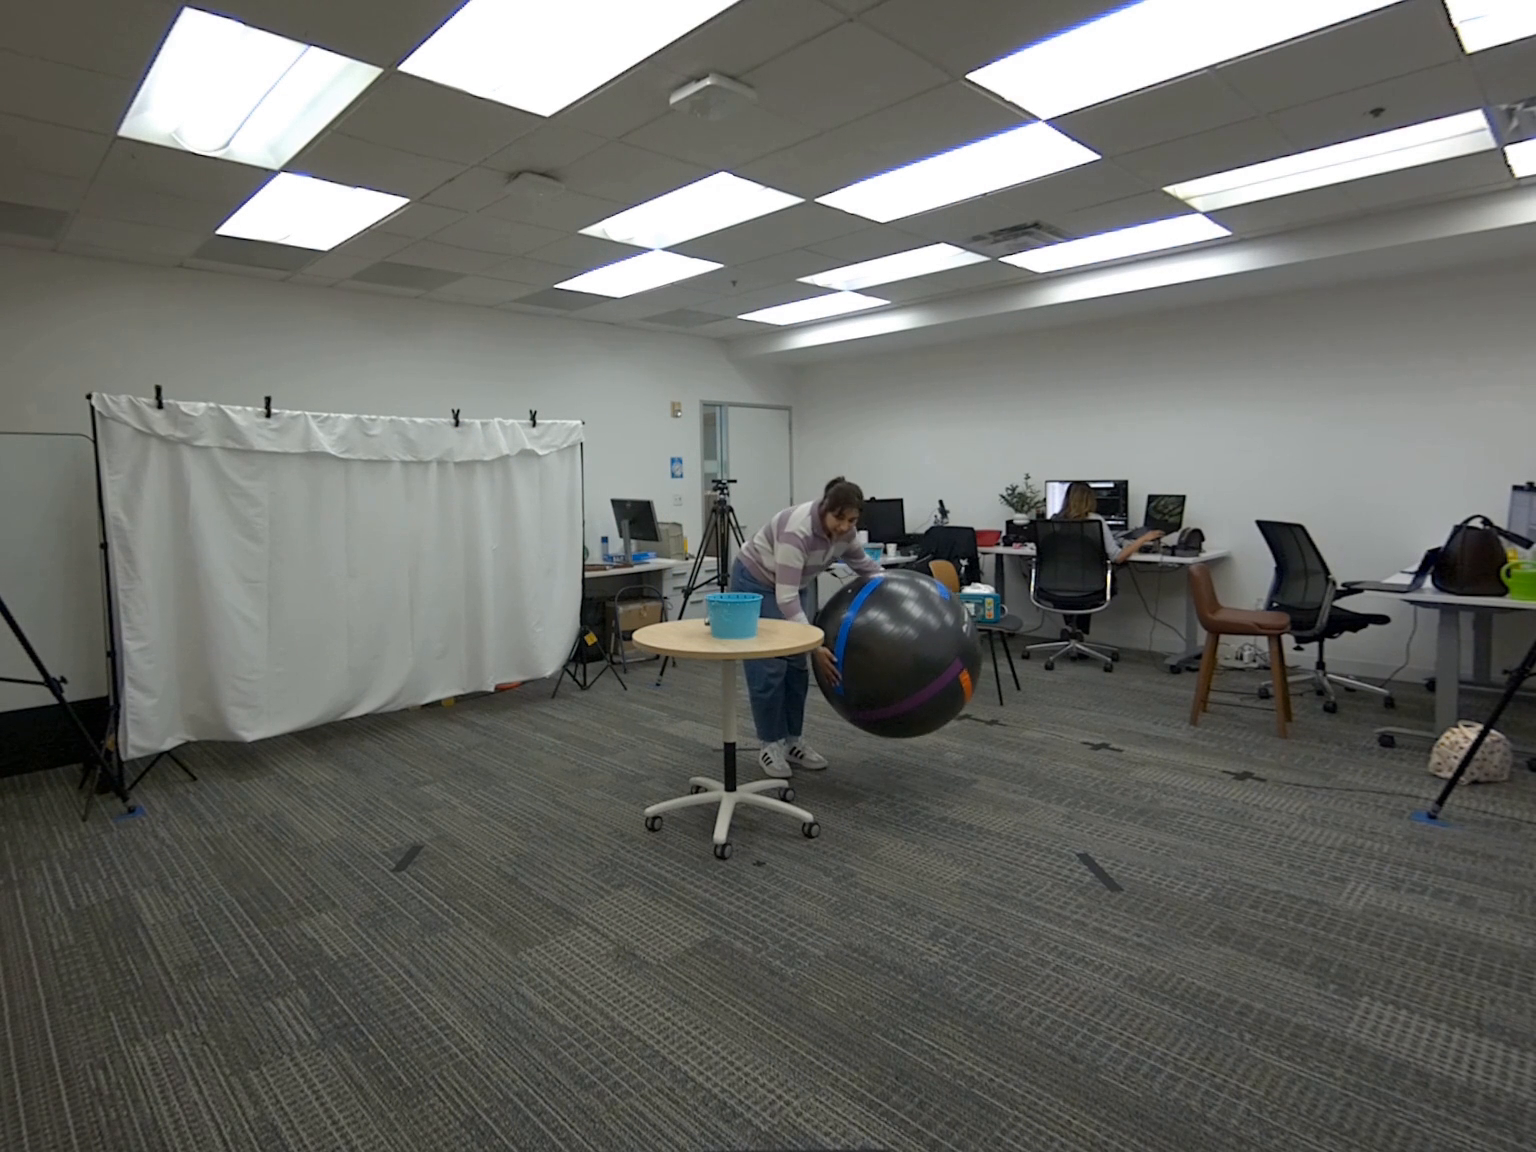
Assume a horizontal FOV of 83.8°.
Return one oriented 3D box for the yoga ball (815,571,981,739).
[{"bbox_3d":[0.589,0.354,3.872,0.757,0.755,0.762,-1,5,-2],"label":"yoga ball"}]
